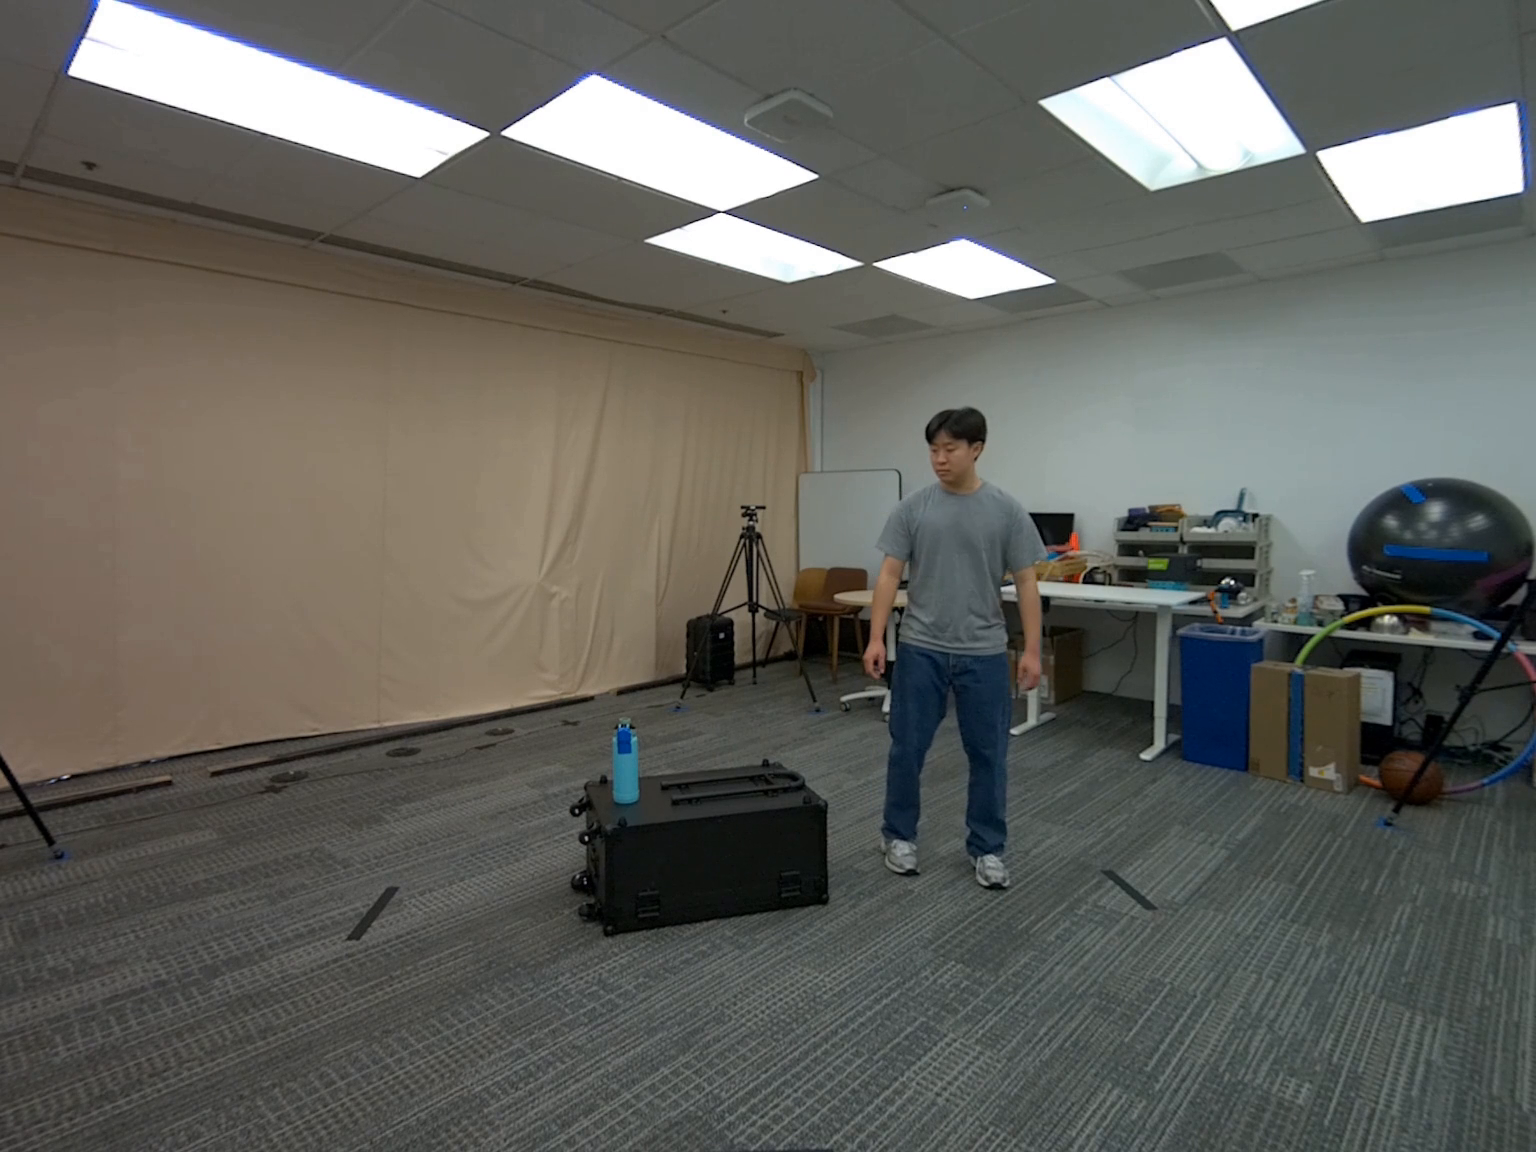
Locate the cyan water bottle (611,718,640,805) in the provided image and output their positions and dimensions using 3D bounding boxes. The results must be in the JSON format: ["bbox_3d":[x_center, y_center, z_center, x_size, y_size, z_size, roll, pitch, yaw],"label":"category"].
[{"bbox_3d":[-0.505,0.651,2.967,0.092,0.282,0.093,0,5,-2],"label":"cyan water bottle"}]
